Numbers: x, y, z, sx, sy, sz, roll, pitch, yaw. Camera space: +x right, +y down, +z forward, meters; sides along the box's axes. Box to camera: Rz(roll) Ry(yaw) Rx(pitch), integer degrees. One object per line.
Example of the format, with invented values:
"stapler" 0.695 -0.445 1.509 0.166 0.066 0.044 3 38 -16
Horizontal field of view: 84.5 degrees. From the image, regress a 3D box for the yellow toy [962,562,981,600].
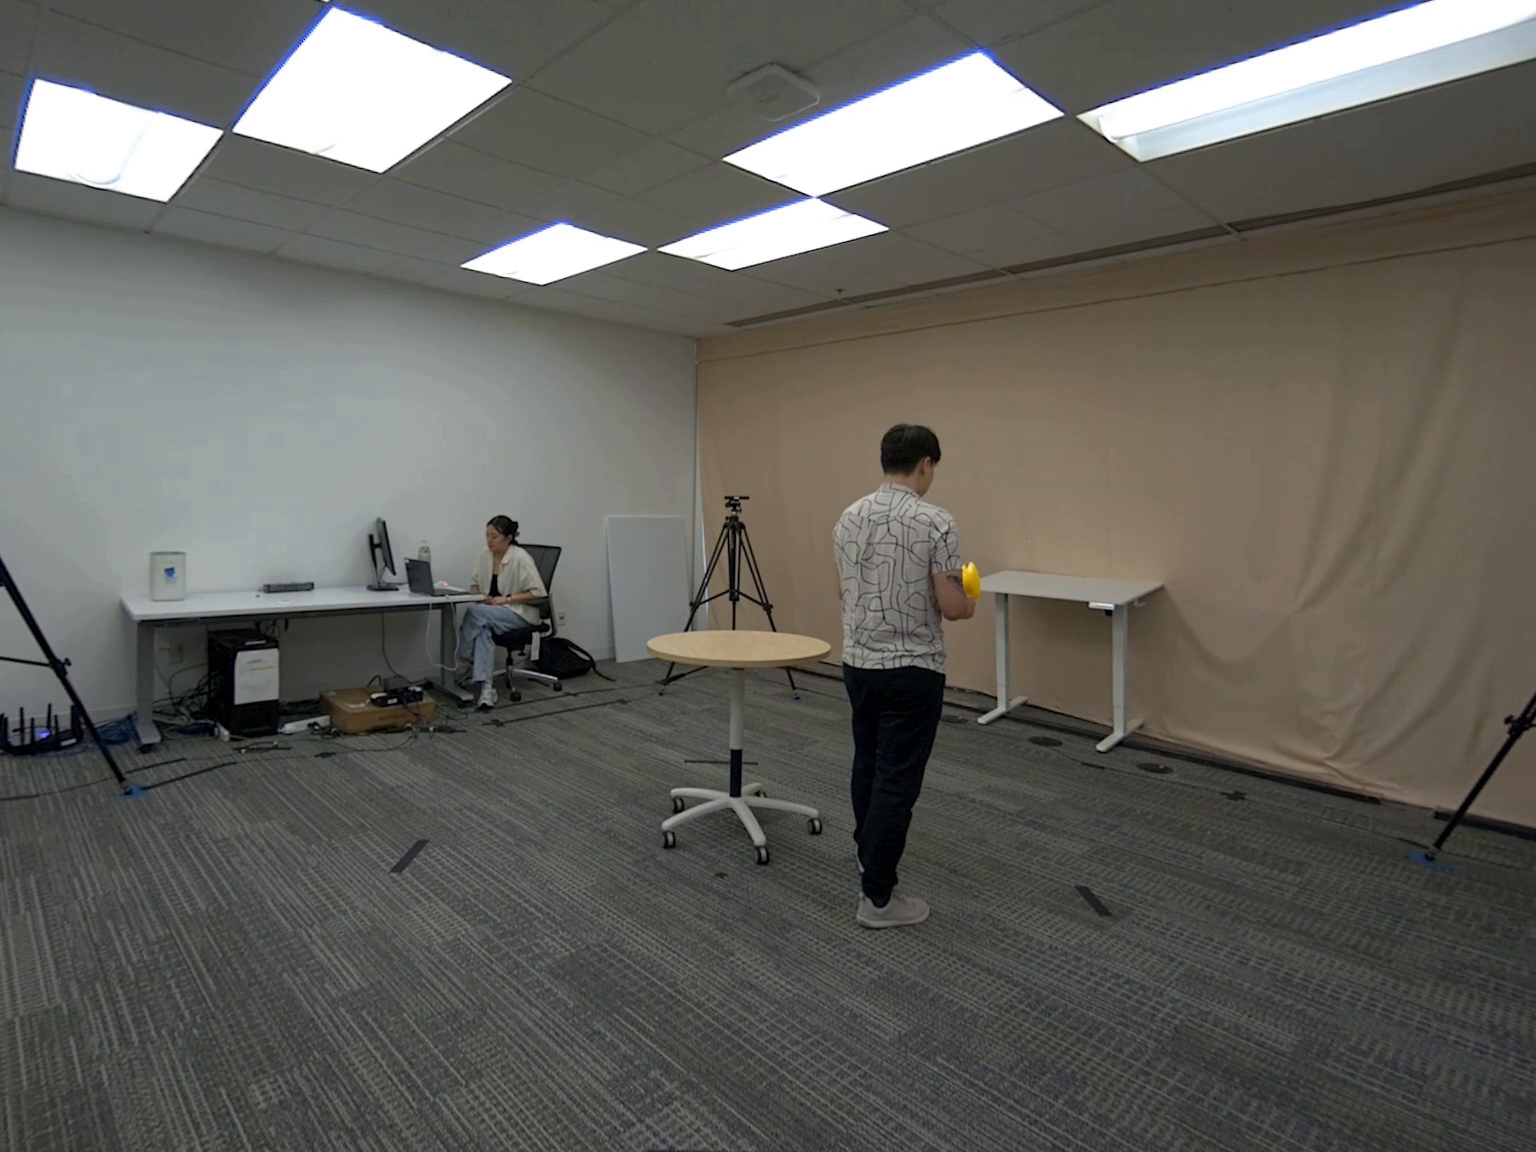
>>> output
"yellow toy" 0.611 0.035 3.071 0.225 0.193 0.209 2 -1 -41
